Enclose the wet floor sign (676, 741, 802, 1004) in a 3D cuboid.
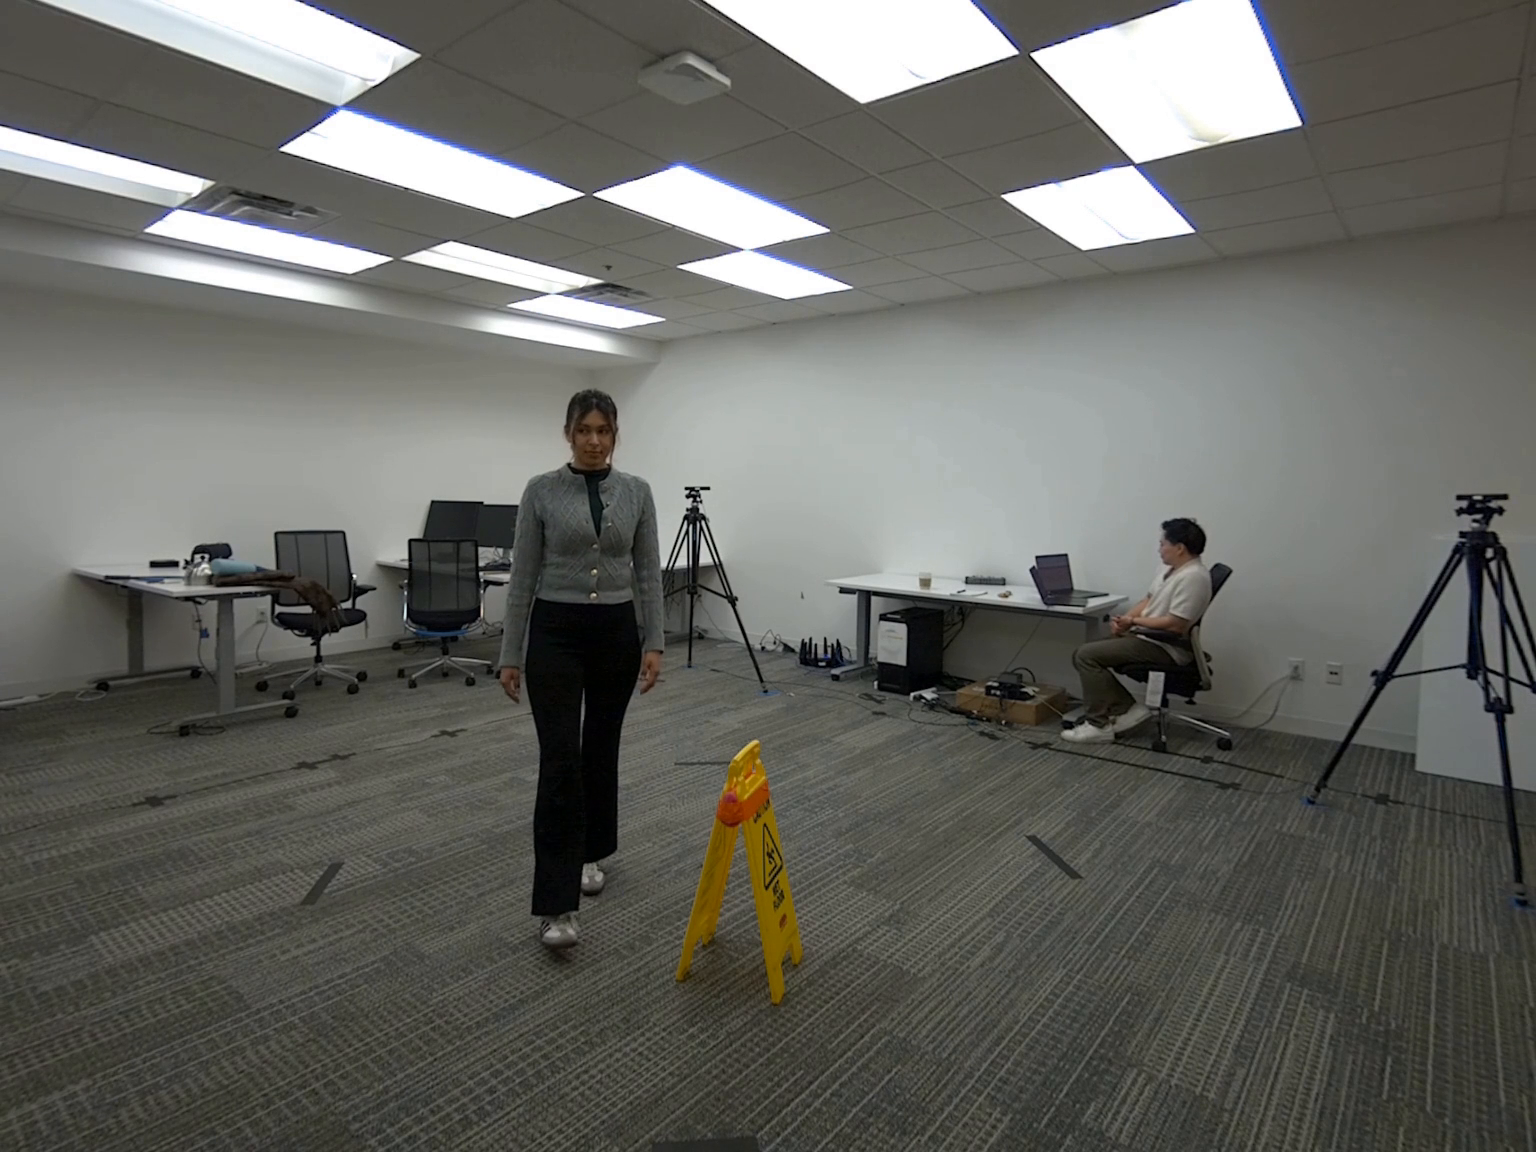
[{"bbox_3d":[-0.074,0.811,2.446,0.296,0.644,0.277,3,4,19],"label":"wet floor sign"}]
